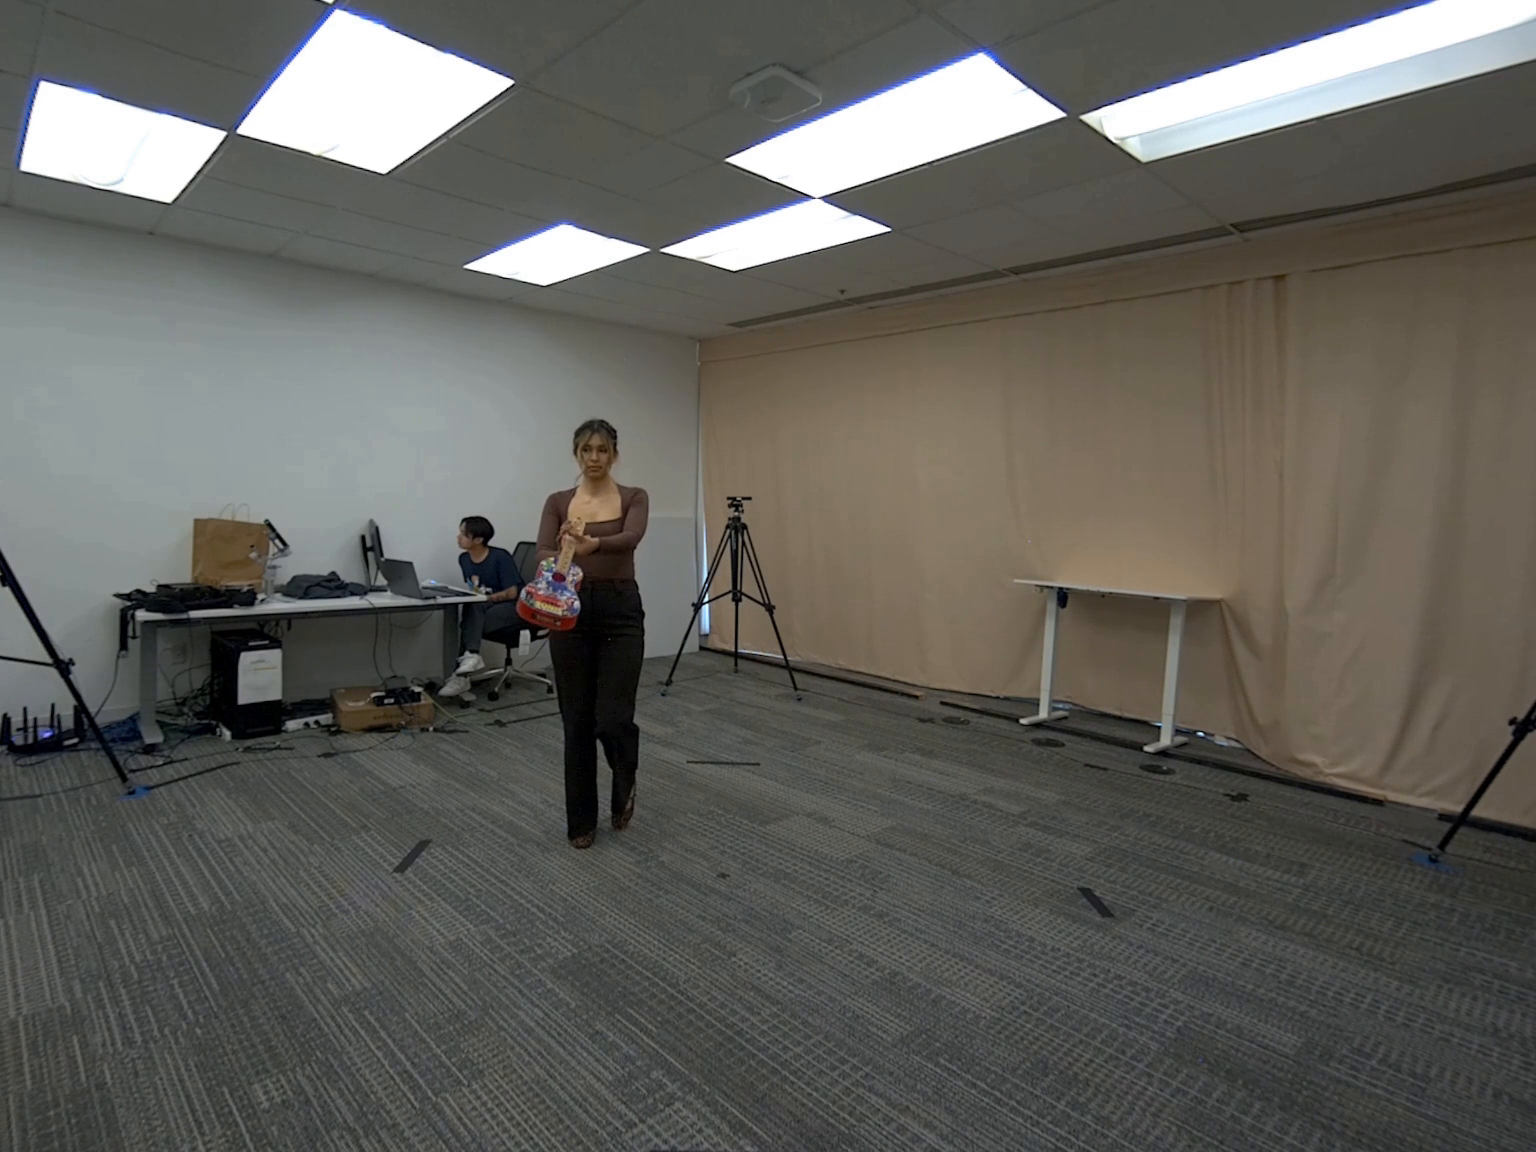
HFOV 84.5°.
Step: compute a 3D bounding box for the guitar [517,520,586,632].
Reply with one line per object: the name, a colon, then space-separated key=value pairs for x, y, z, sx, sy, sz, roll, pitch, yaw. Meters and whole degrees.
guitar: x=-0.663 y=-0.008 z=2.825 sx=0.192 sy=0.070 sz=0.504 roll=21 pitch=37 yaw=-4
